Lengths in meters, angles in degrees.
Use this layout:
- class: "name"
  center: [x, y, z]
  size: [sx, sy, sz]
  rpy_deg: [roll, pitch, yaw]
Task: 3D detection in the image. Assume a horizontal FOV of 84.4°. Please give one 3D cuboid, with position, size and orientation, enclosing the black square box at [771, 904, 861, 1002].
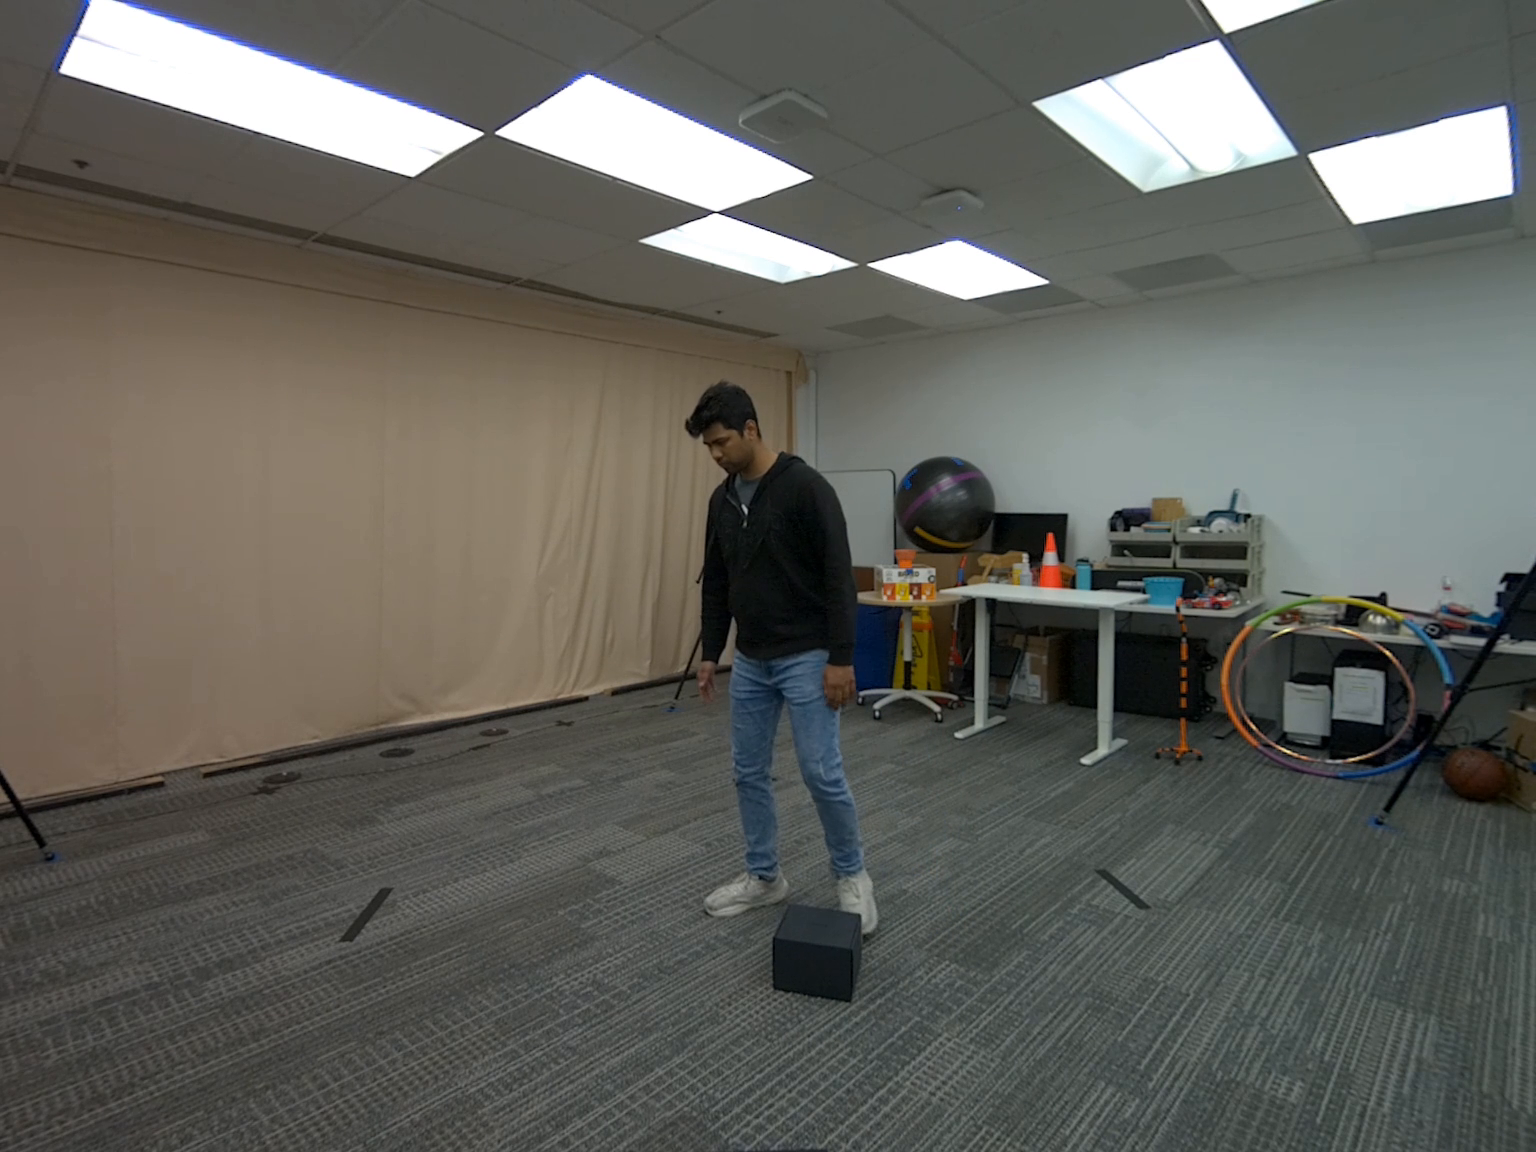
- class: "black square box"
  center: [0.152, 1.100, 2.484]
  size: [0.232, 0.155, 0.214]
  rpy_deg: [1, 3, 14]
